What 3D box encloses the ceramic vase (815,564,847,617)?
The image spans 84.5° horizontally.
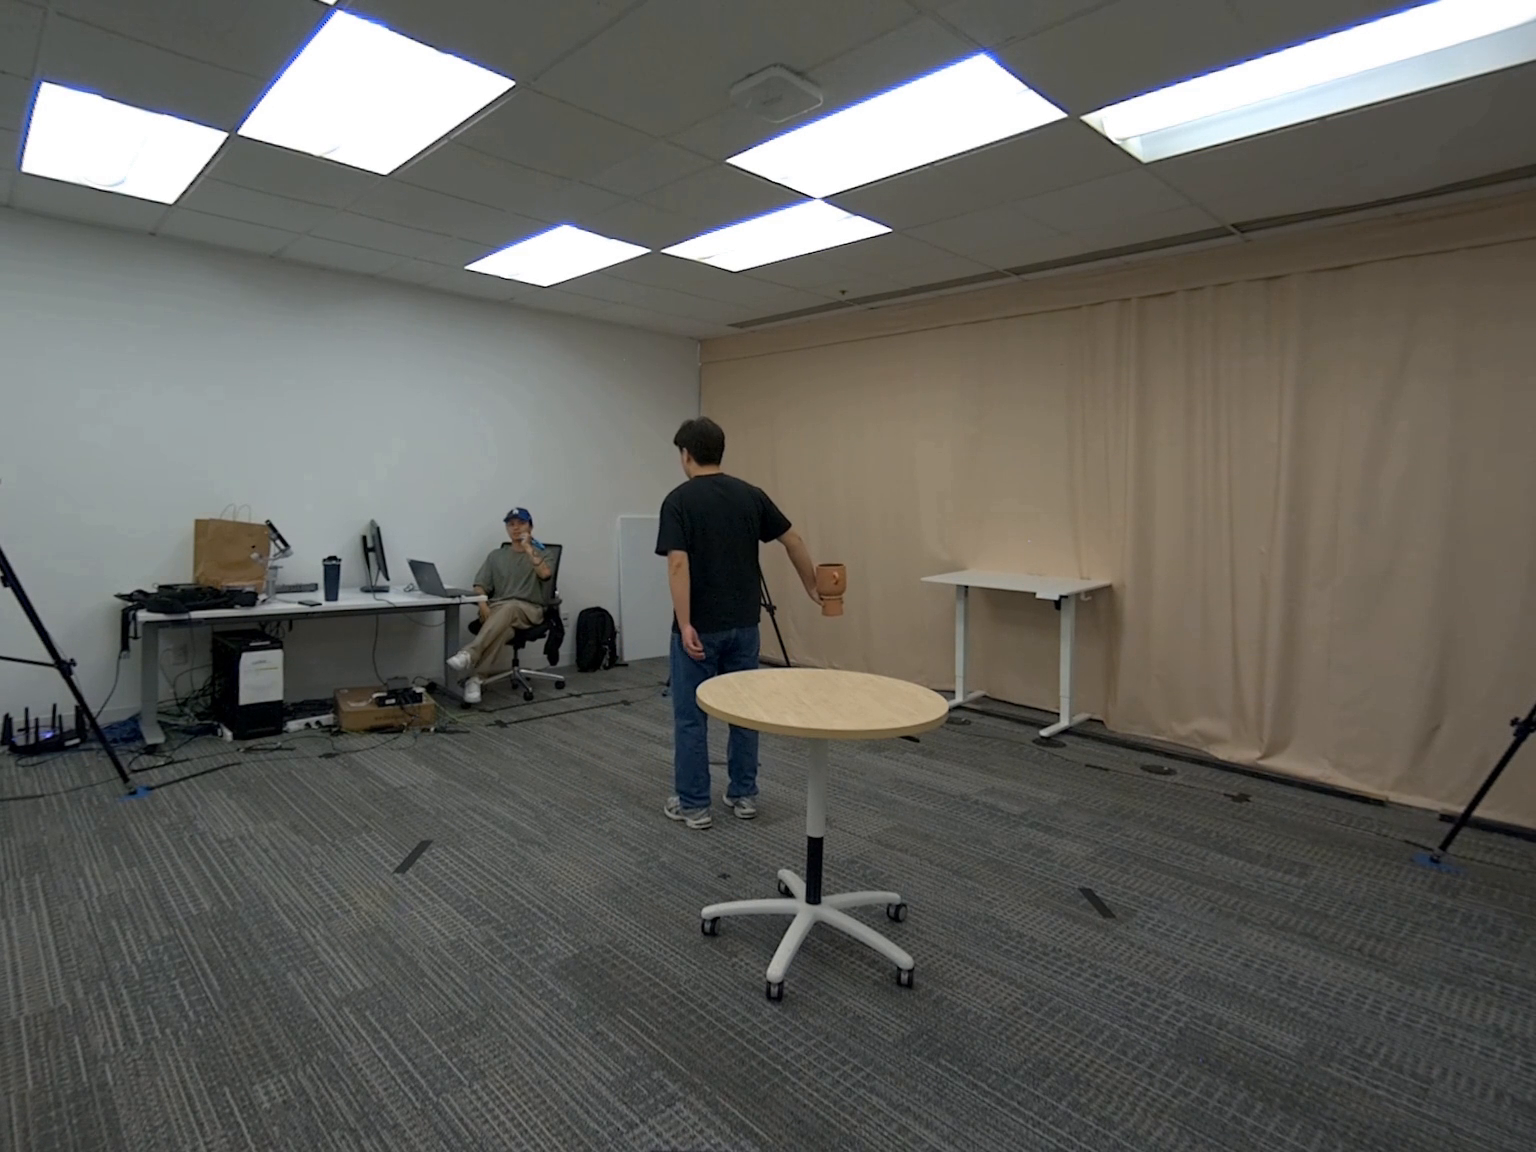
[{"bbox_3d":[0.261,0.060,3.734,0.137,0.219,0.157,-1,7,26],"label":"ceramic vase"}]
